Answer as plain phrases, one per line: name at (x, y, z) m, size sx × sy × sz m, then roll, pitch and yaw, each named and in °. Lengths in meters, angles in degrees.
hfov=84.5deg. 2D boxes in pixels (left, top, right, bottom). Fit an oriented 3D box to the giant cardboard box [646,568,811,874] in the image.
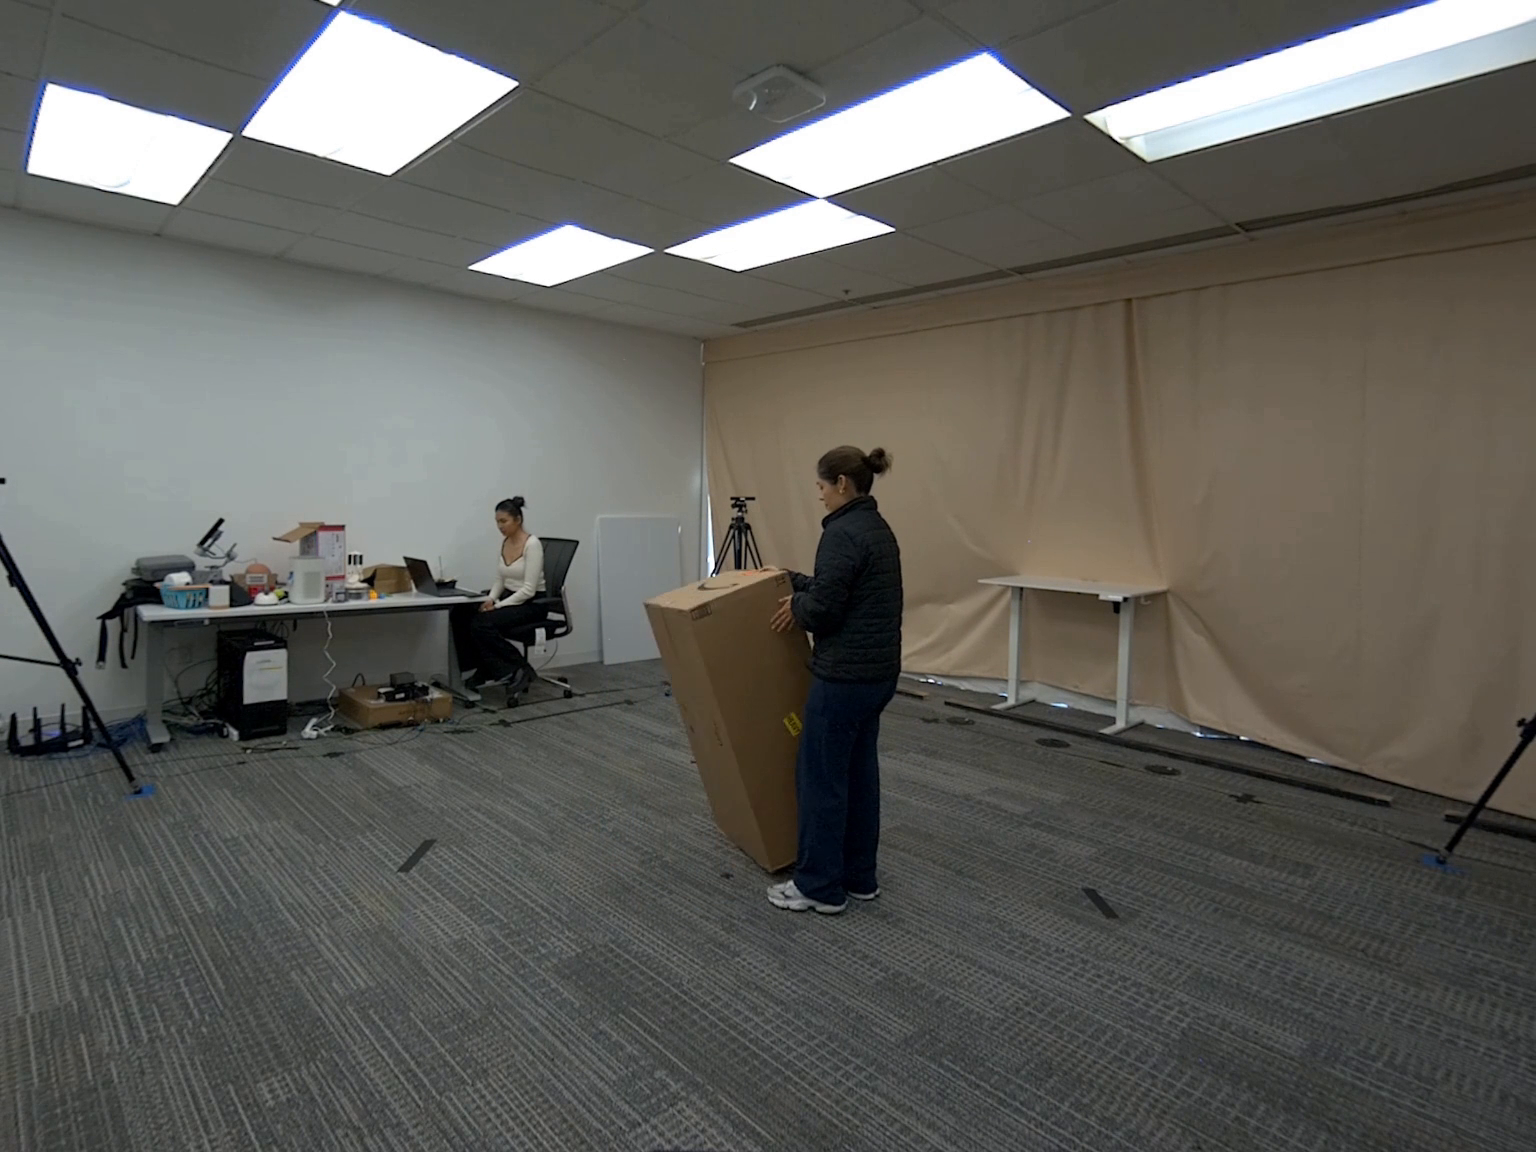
giant cardboard box at (-0.078, 0.530, 3.342) m, size 0.422 × 1.020 × 0.587 m, roll -20°, pitch 7°, yaw -21°
